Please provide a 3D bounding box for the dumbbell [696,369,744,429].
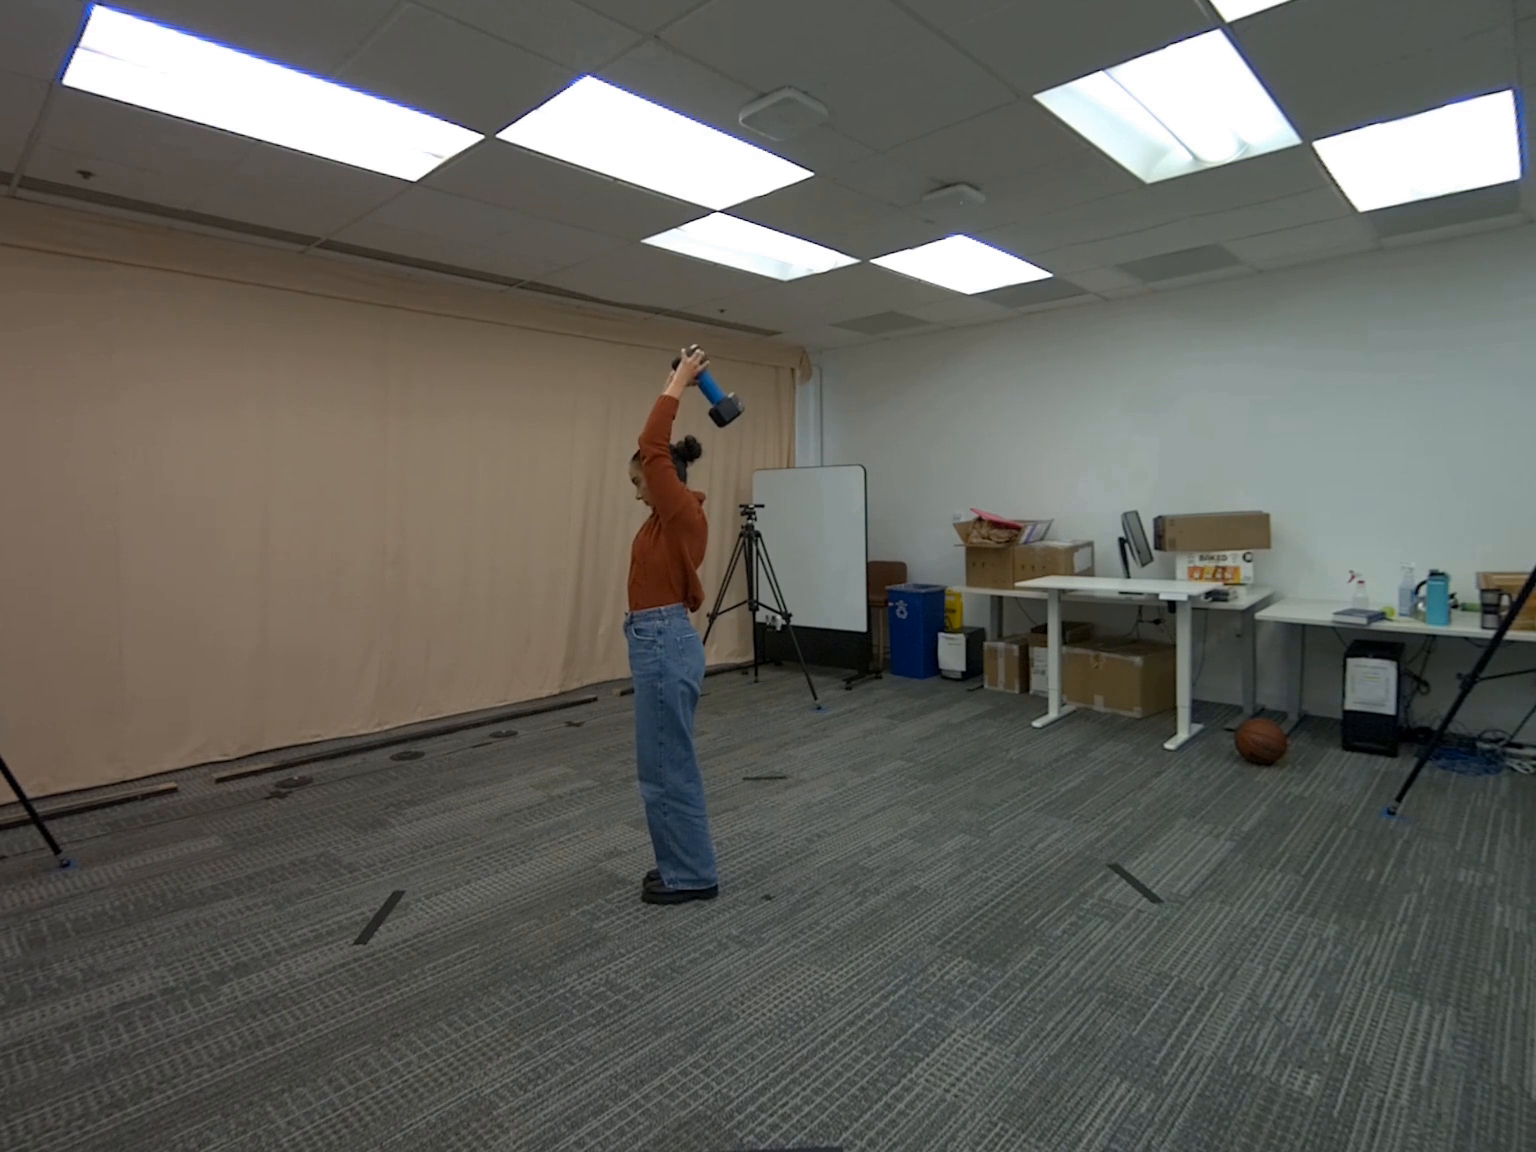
[{"bbox_3d":[-0.210,-0.666,2.973,0.123,0.290,0.110,-40,10,-1],"label":"dumbbell"}]
